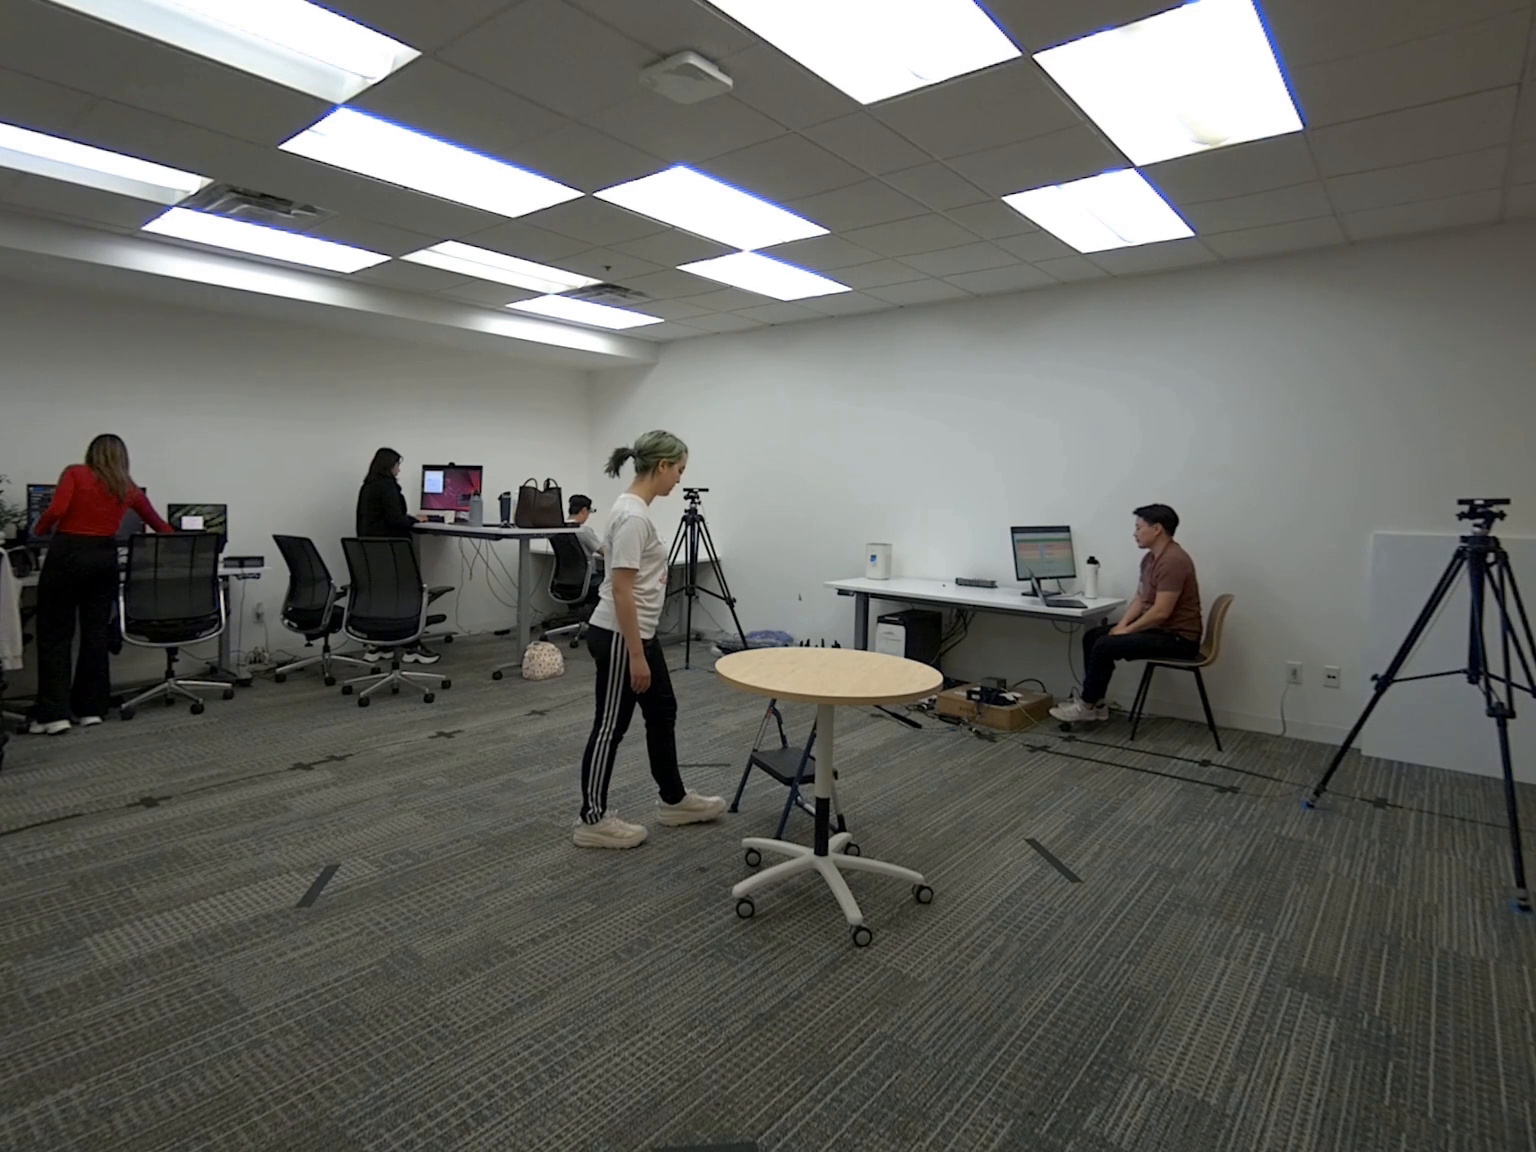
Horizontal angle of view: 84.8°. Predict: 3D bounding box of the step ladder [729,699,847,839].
[{"bbox_3d":[0.074,0.734,3.543,0.341,0.604,0.443,0,4,-27],"label":"step ladder"}]
